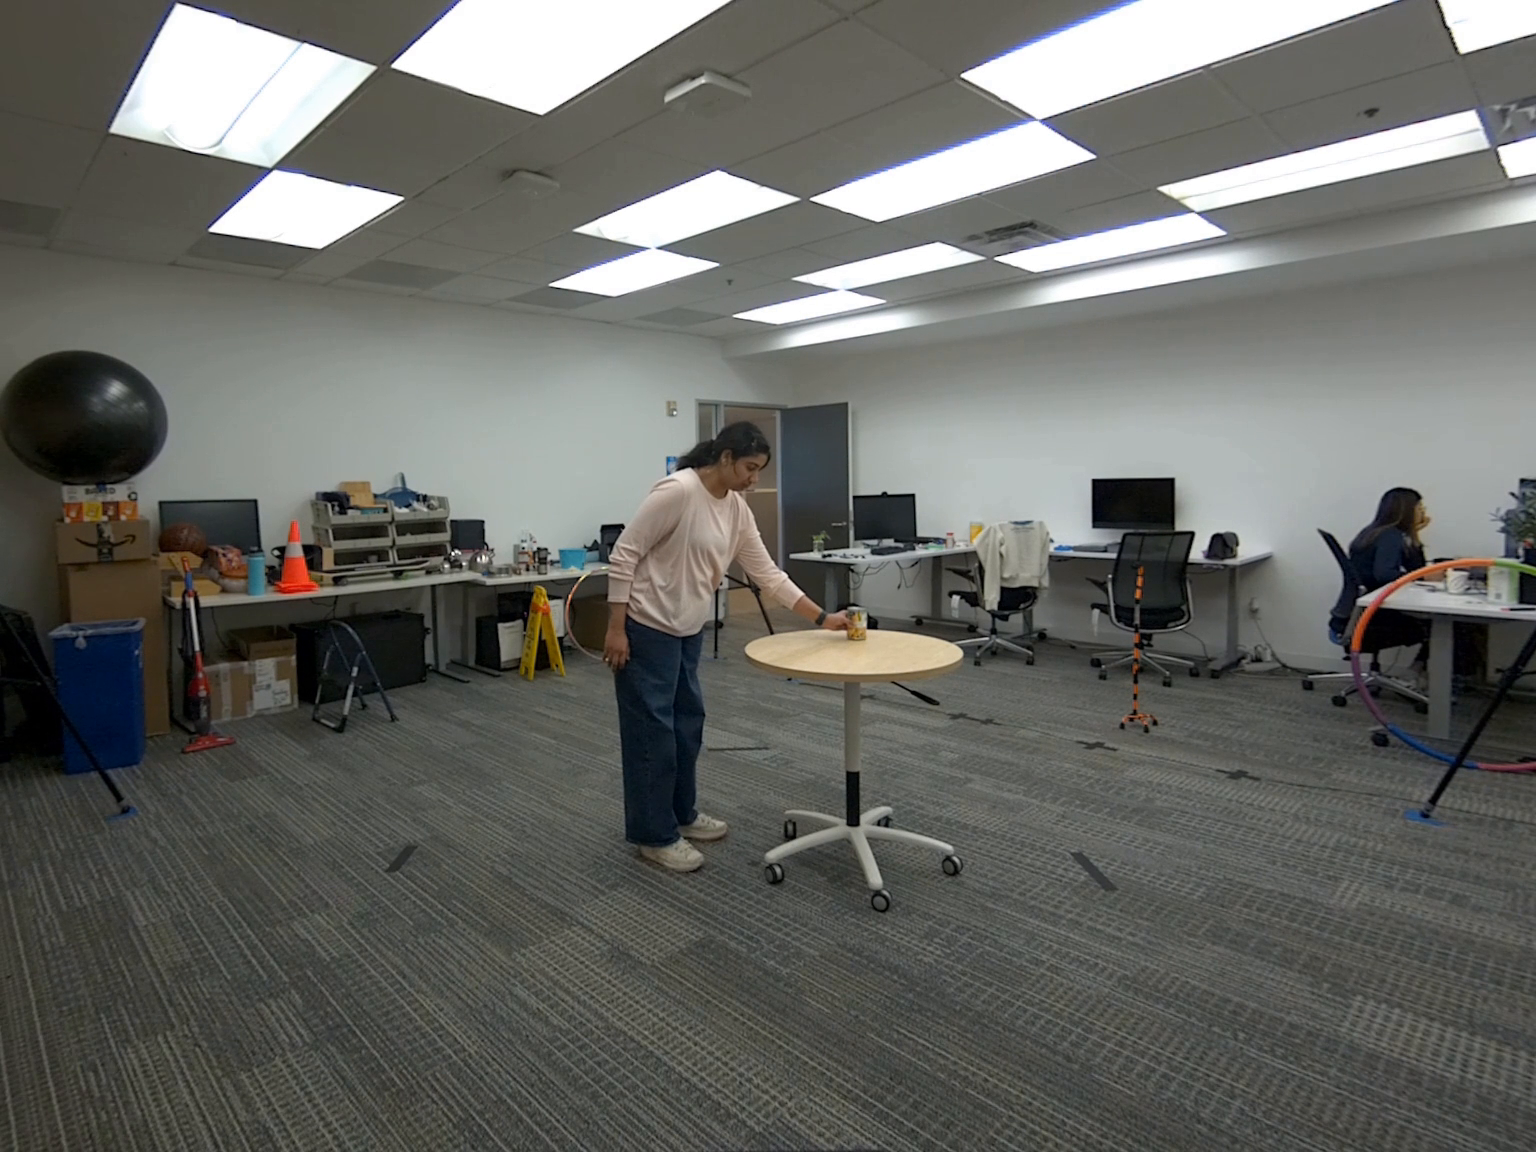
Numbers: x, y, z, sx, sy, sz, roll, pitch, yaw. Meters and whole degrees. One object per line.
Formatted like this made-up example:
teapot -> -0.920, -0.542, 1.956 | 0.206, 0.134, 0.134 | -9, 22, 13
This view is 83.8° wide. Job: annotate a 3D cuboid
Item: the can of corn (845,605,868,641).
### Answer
can of corn -> 0.333, 0.177, 3.230 | 0.074, 0.111, 0.074 | -2, 2, -2
